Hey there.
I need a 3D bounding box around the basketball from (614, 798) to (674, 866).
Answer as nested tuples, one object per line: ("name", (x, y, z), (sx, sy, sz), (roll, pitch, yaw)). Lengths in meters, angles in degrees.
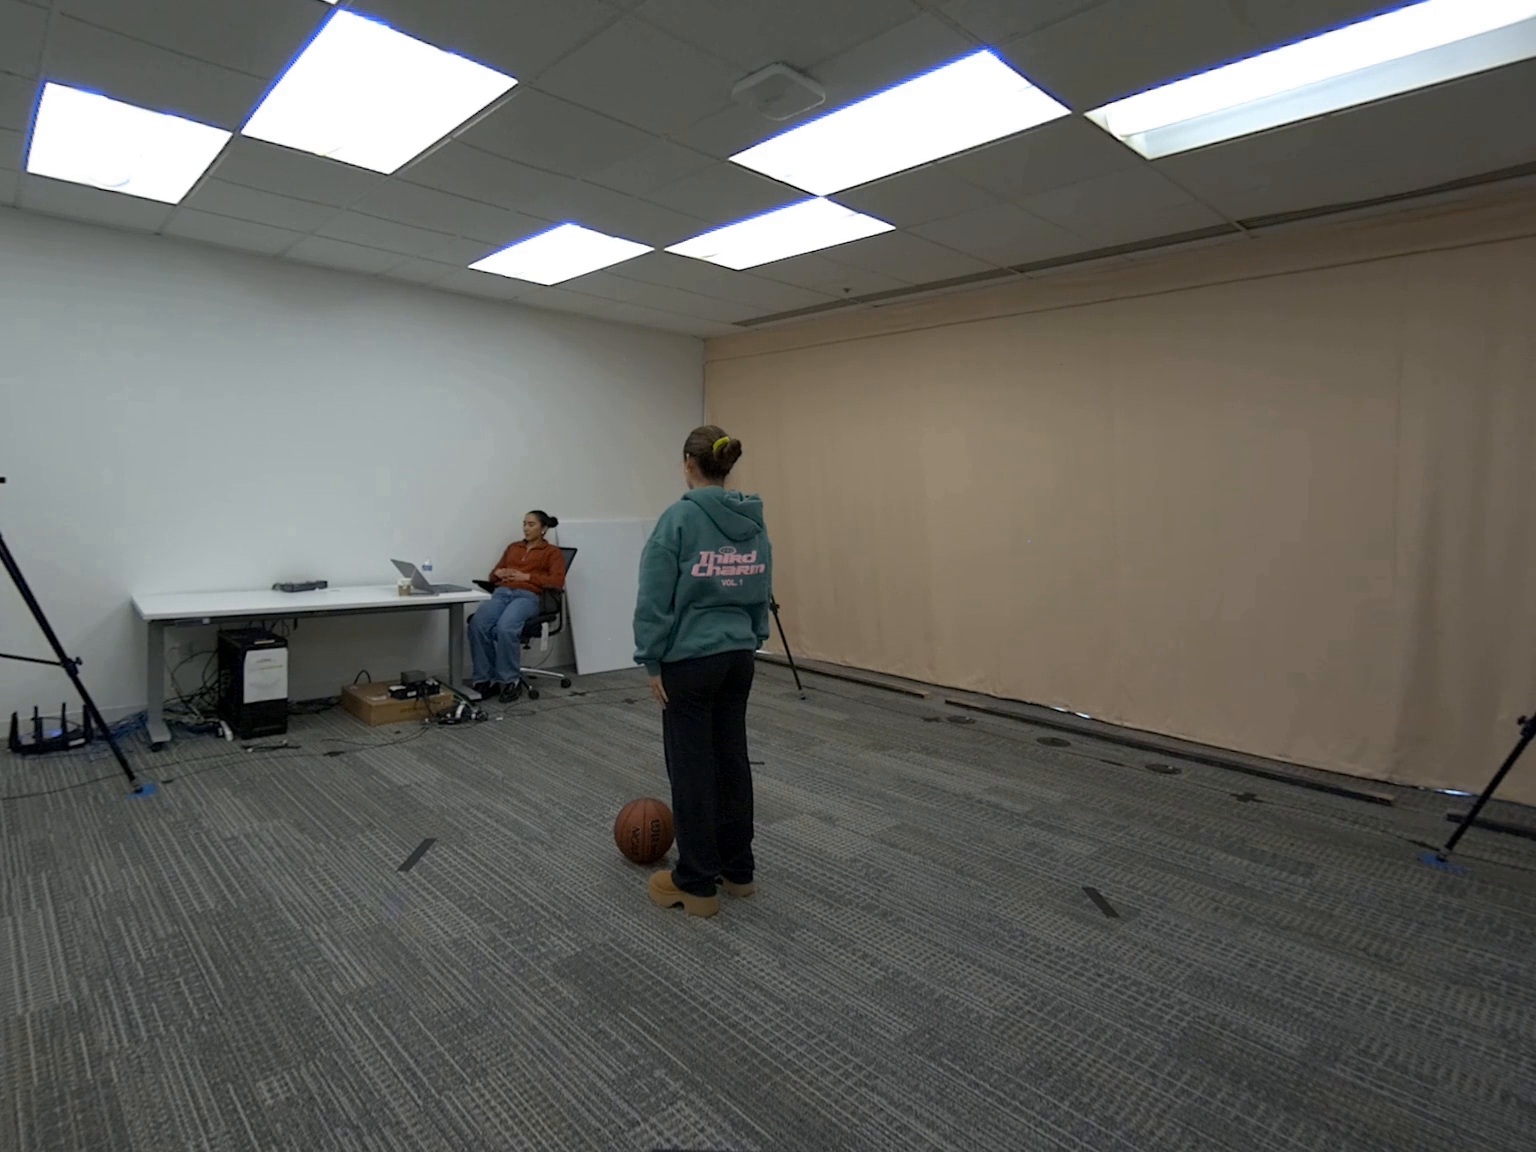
("basketball", (-0.479, 0.968, 3.211), (0.236, 0.235, 0.237), (1, 4, -1))
